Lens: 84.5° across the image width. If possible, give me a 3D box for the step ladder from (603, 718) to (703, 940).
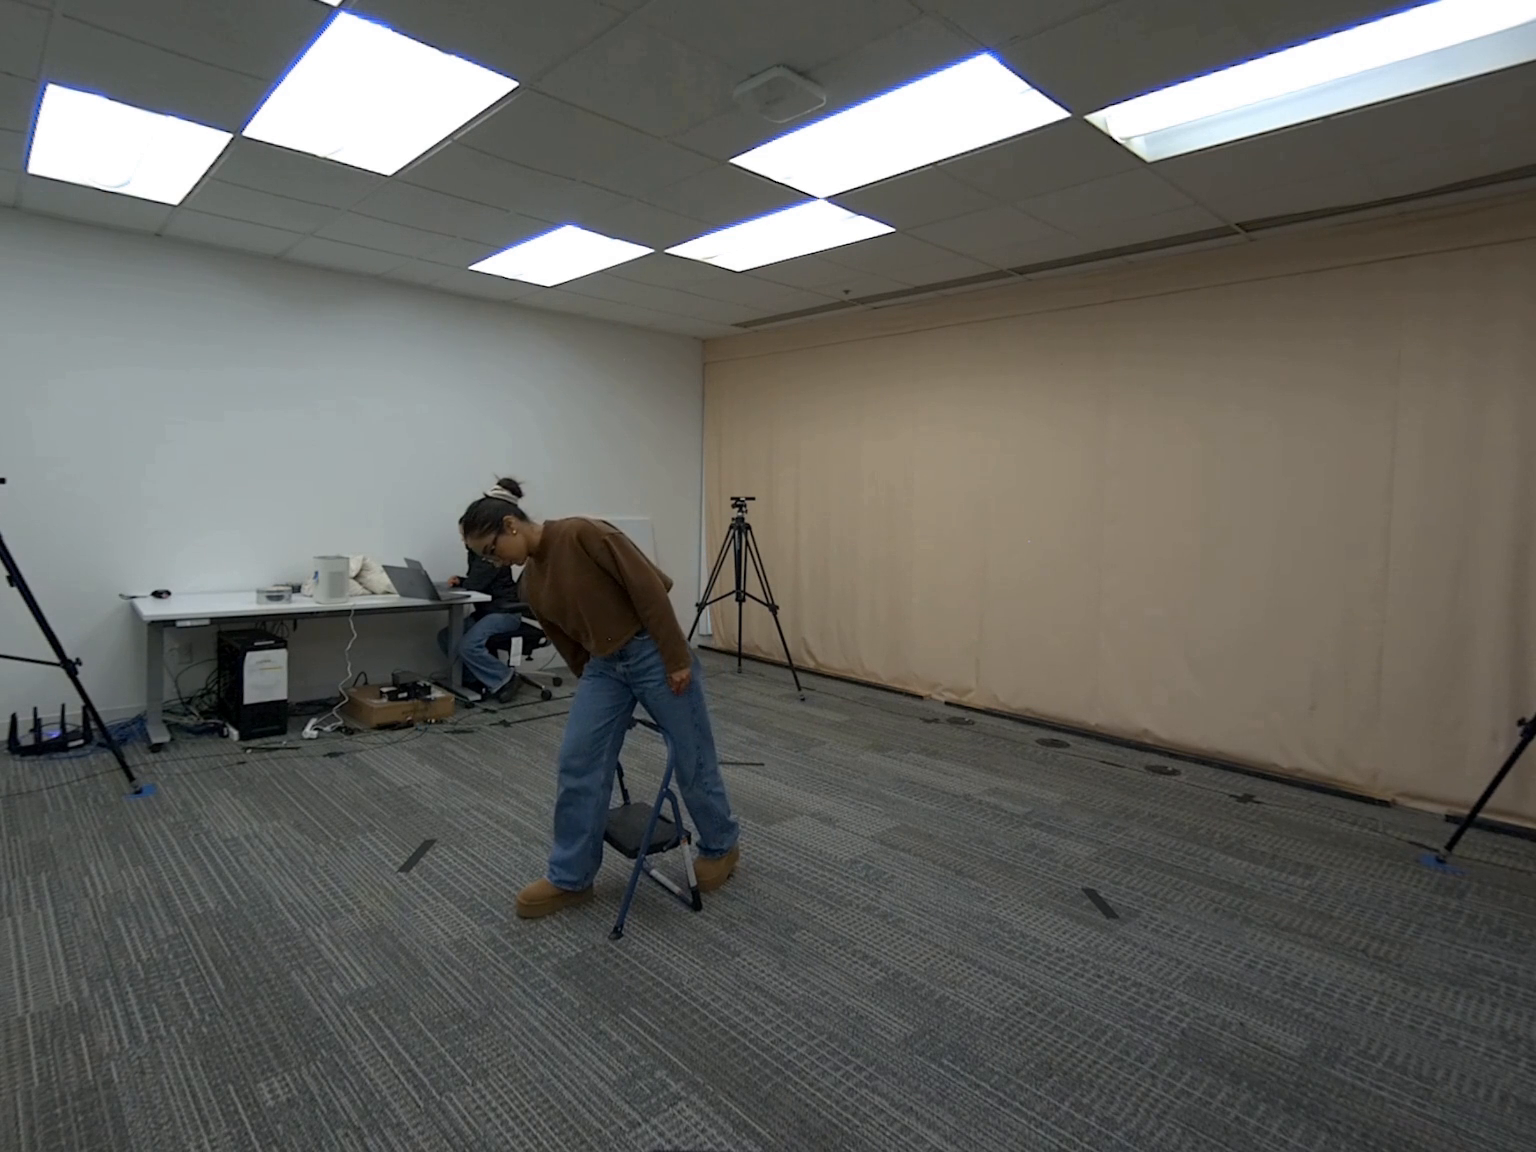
[{"bbox_3d":[-0.470,0.812,2.888,0.341,0.605,0.441,0,4,-37],"label":"step ladder"}]
